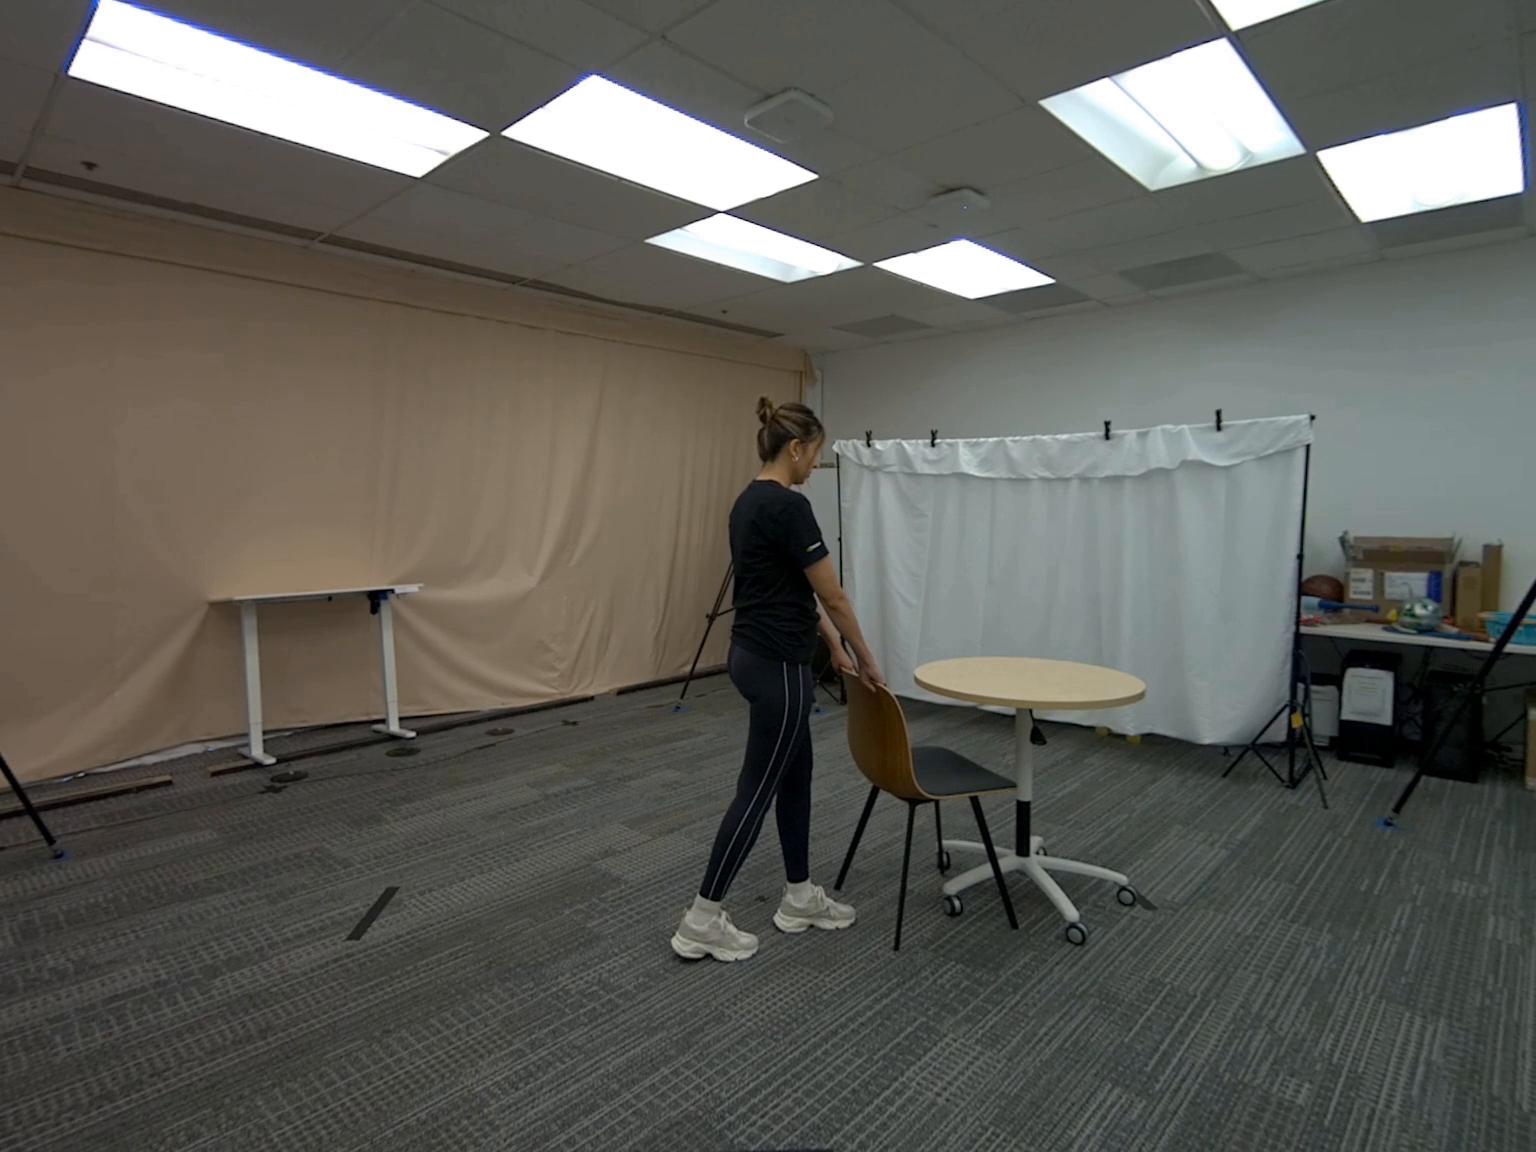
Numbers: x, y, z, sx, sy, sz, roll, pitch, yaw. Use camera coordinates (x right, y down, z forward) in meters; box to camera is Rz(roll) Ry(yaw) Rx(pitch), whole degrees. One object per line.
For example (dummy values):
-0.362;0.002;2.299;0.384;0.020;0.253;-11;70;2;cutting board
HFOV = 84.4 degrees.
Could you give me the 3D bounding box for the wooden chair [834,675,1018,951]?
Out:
0.538;0.722;2.877;0.514;0.875;0.488;-6;4;-18;wooden chair
